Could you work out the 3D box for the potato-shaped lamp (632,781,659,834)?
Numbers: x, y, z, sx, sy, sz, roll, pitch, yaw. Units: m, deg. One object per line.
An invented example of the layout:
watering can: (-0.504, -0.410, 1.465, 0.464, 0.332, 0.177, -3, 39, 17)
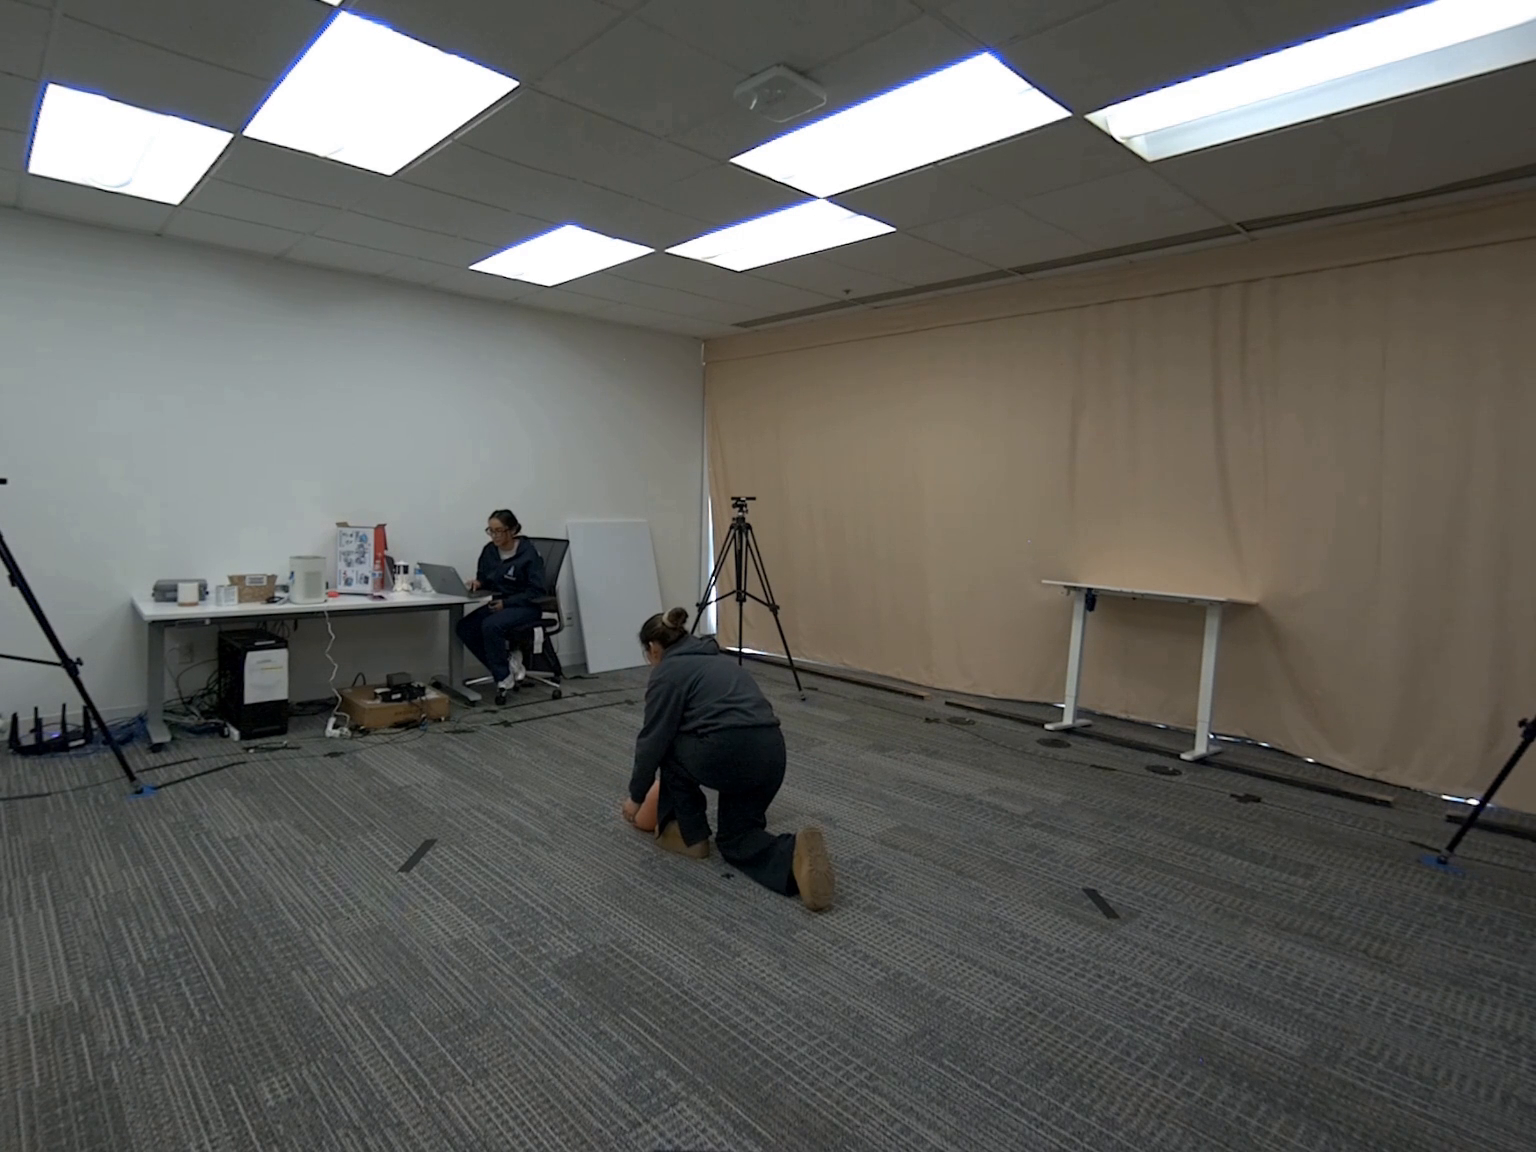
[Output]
potato-shaped lamp: (-0.491, 0.957, 3.554, 0.176, 0.197, 0.161, 8, 9, 43)
